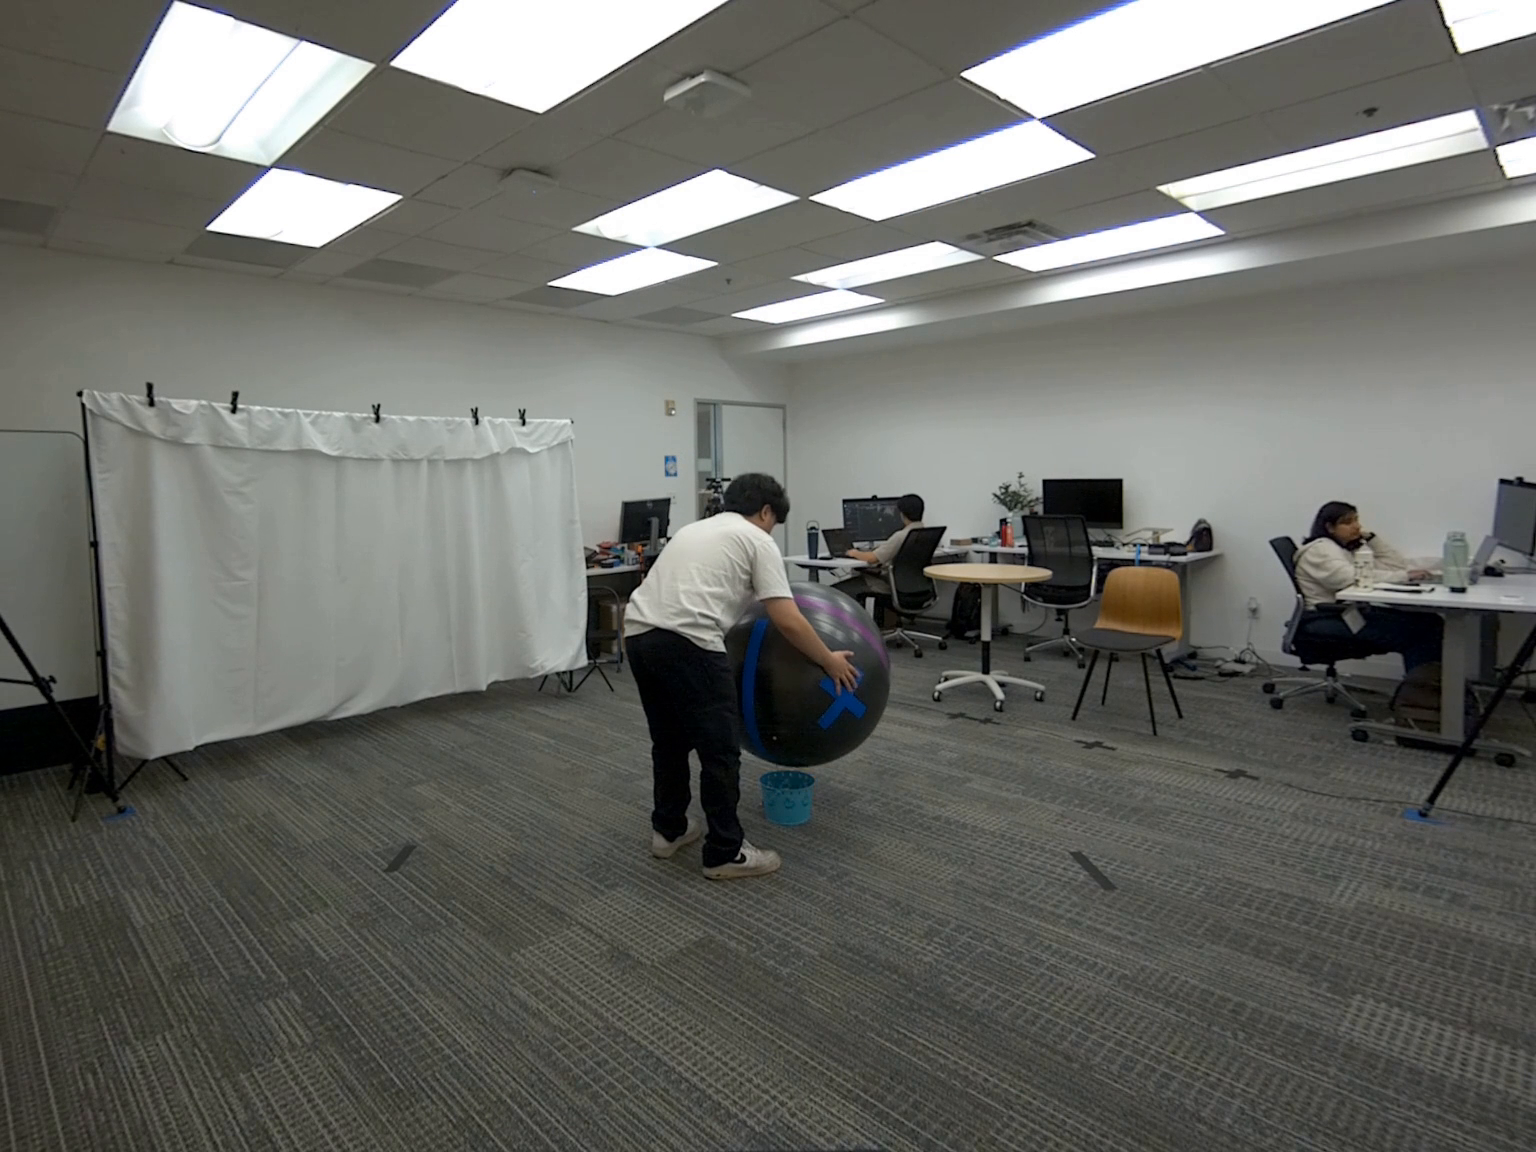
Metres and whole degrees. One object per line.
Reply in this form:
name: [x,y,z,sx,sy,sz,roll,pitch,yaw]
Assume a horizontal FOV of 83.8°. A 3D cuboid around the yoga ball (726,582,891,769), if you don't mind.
yoga ball: [0.126,0.401,3.536,0.757,0.755,0.762,-1,5,-2]
